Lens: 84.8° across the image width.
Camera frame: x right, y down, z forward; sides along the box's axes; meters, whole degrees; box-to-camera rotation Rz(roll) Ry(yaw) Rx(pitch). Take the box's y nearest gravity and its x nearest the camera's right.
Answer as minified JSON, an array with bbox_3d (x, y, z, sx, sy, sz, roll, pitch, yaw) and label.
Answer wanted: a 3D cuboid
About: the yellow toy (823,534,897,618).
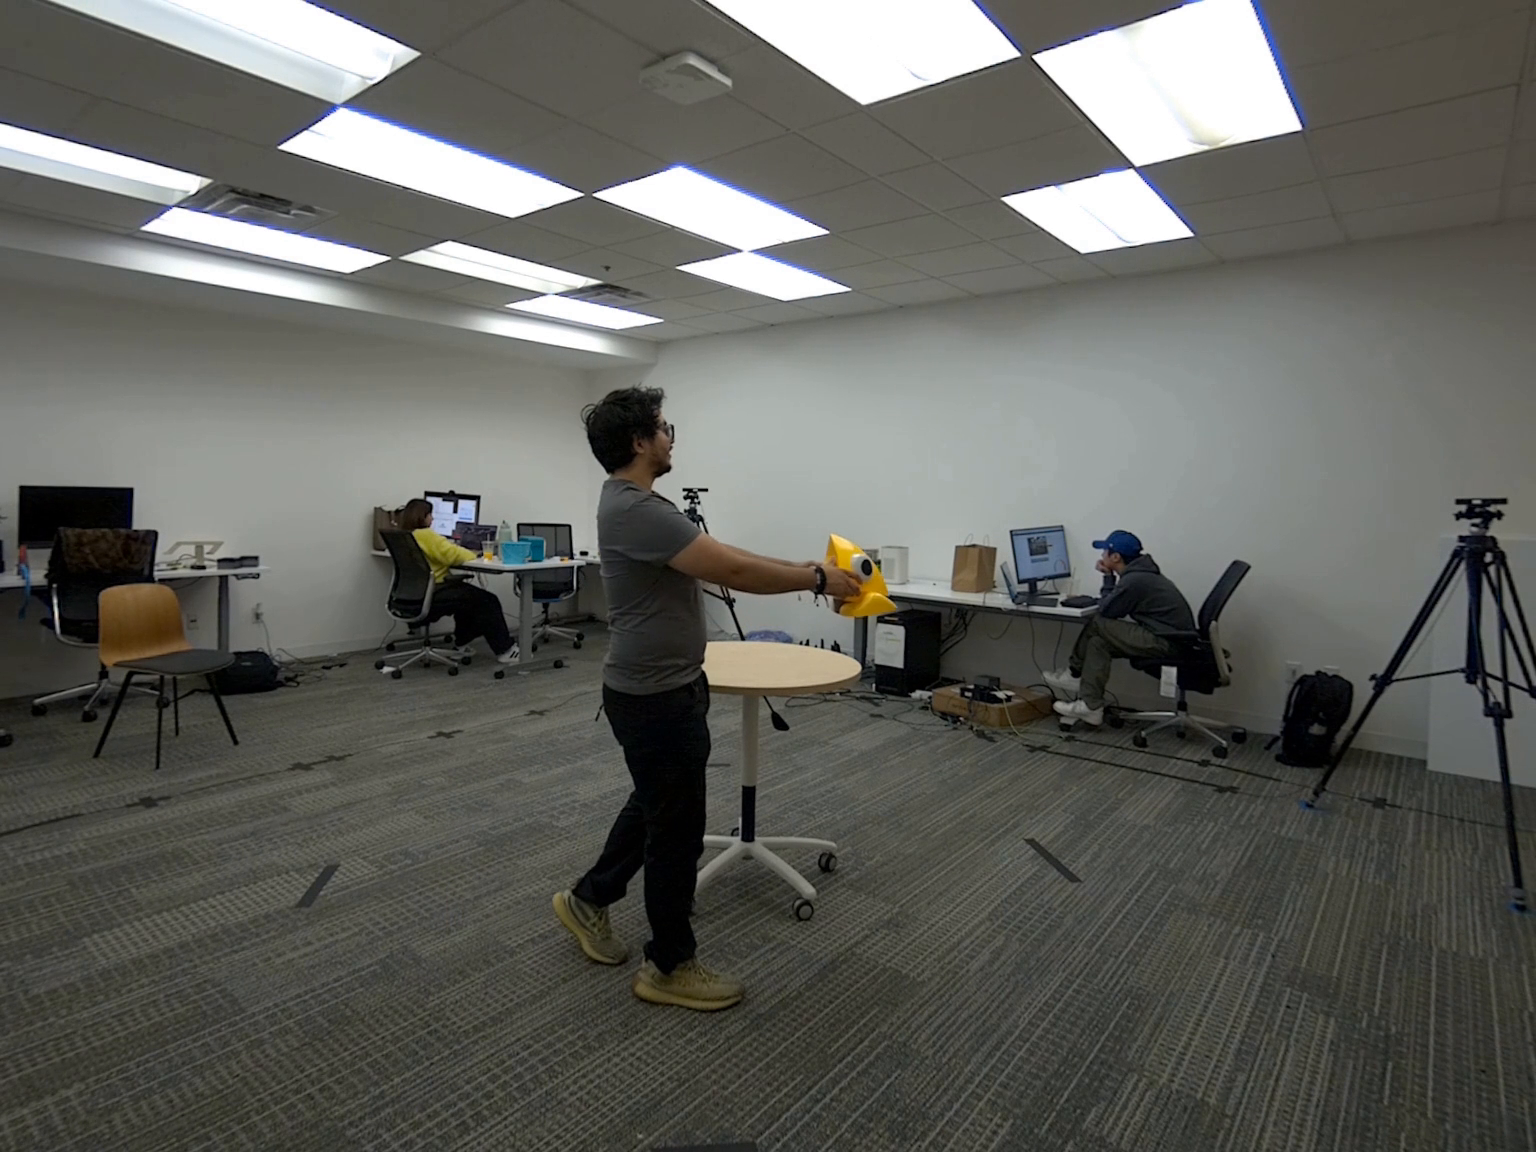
[{"bbox_3d":[0.243,-0.014,2.447,0.191,0.230,0.208,-8,5,-13],"label":"yellow toy"}]
